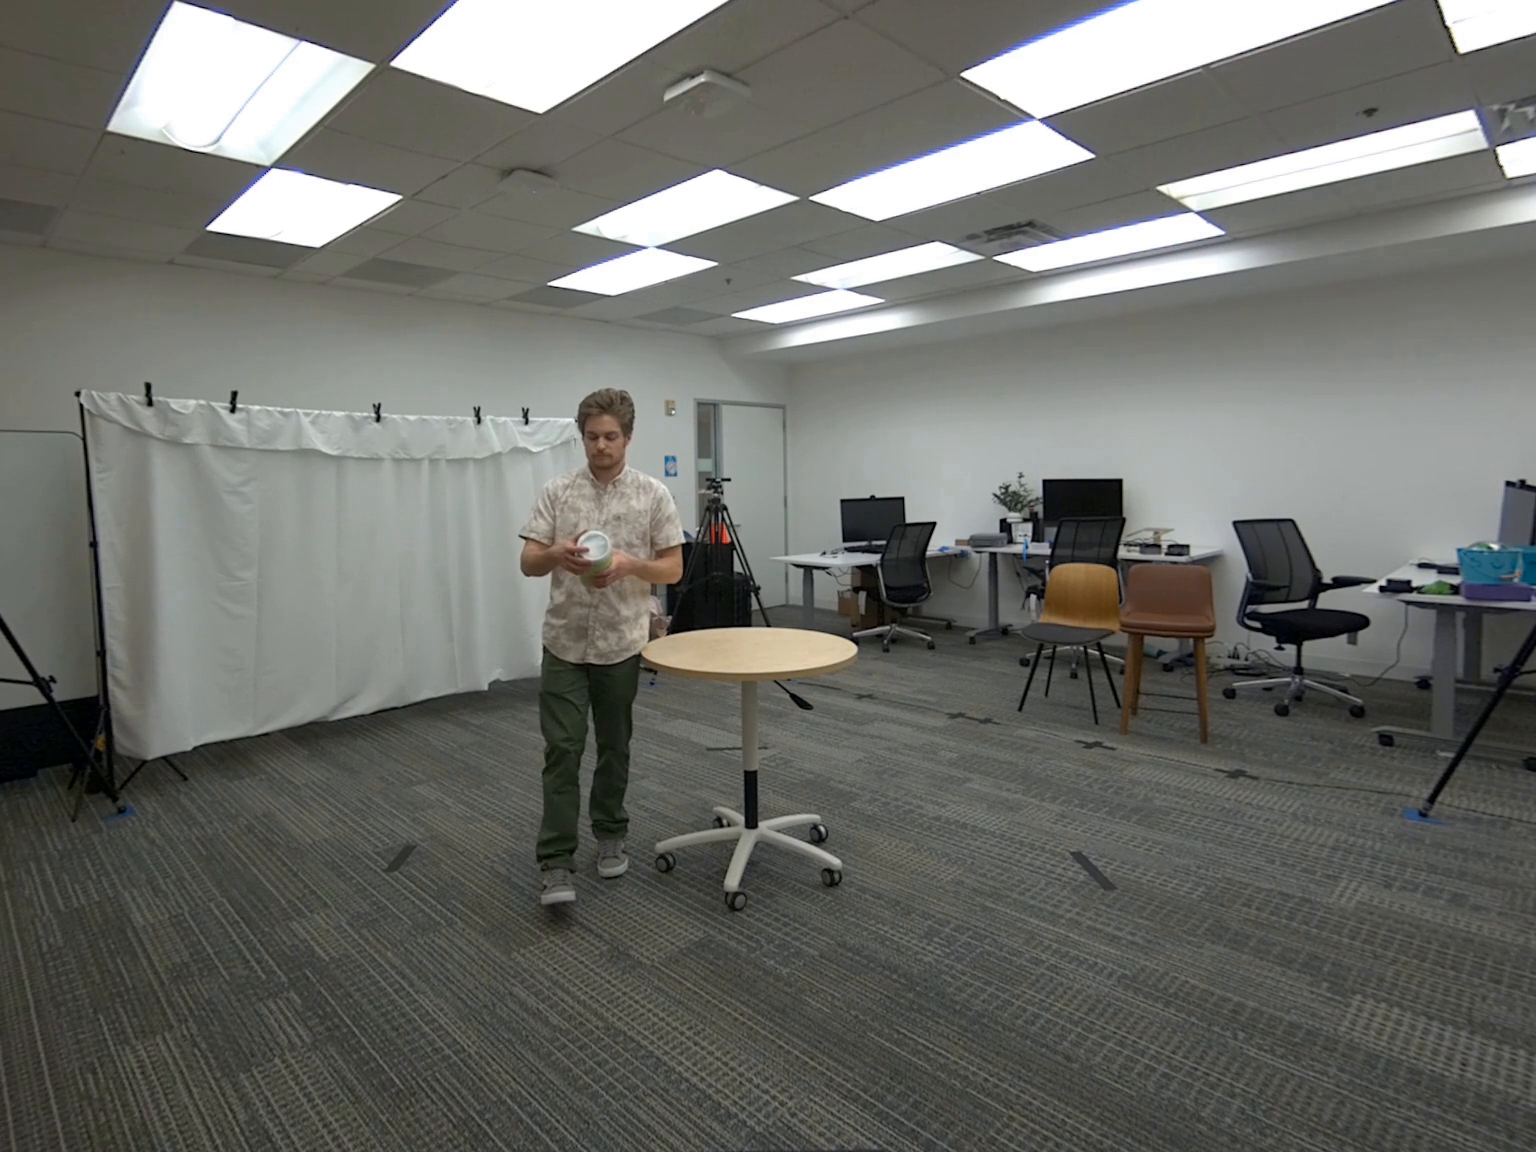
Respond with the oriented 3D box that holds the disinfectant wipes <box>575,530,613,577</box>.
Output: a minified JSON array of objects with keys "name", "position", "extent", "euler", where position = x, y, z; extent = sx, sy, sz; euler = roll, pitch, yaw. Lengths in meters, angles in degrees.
[{"name":"disinfectant wipes","position":[-0.568,-0.048,2.755],"extent":[0.117,0.120,0.213],"euler":[-1,-26,-5]}]
